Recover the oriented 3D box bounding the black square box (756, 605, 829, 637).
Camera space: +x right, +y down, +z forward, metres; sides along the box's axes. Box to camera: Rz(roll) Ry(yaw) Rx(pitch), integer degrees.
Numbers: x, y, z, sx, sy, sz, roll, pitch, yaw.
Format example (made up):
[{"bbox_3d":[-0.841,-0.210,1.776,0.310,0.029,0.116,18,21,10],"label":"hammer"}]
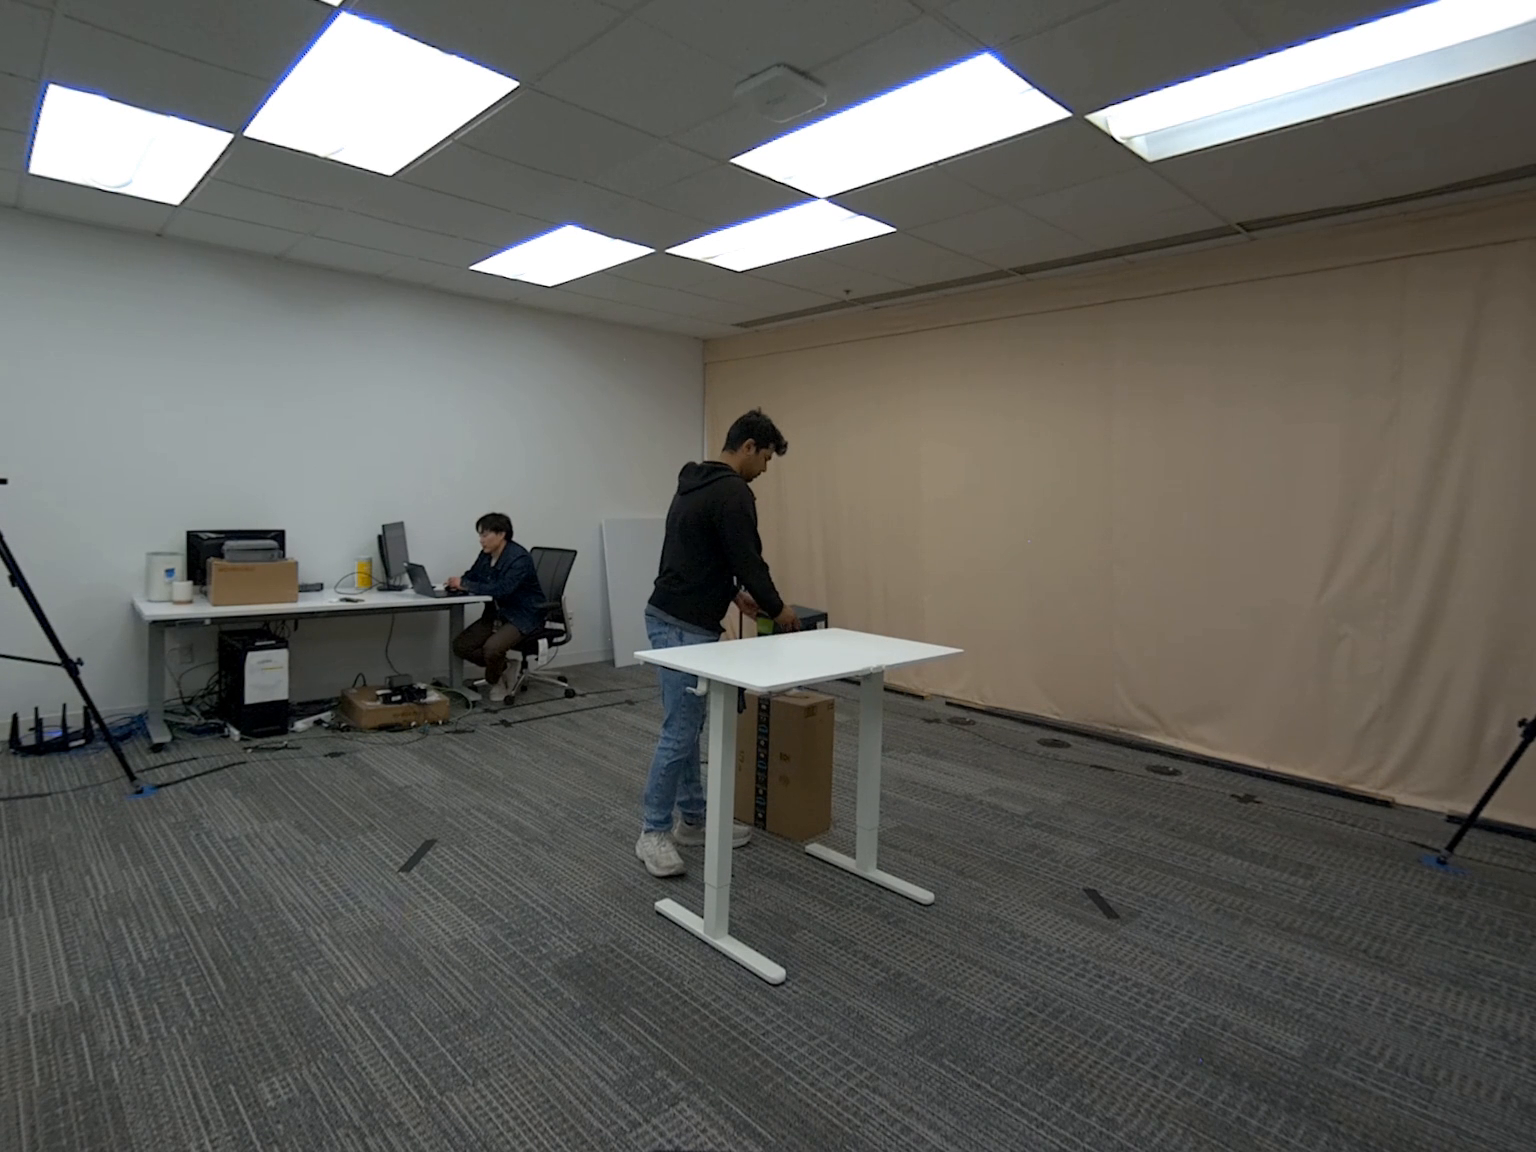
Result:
[{"bbox_3d":[0.104,0.234,3.589,0.213,0.155,0.234,-9,12,-34],"label":"black square box"}]
